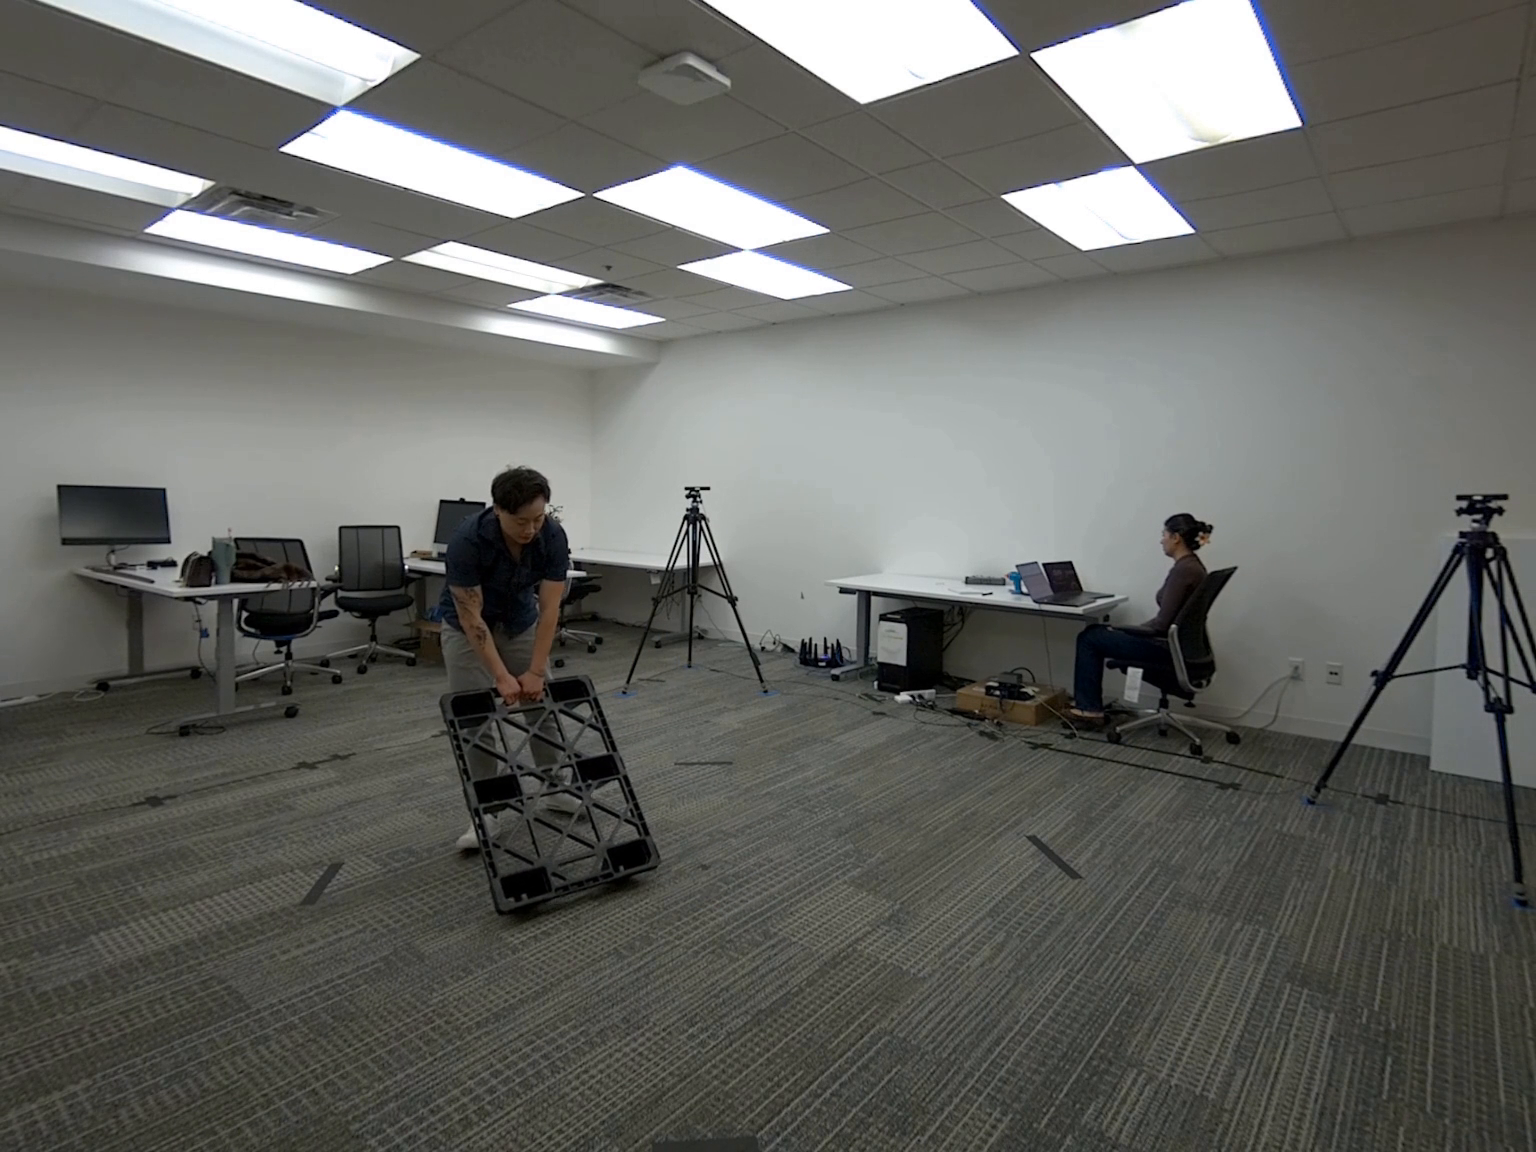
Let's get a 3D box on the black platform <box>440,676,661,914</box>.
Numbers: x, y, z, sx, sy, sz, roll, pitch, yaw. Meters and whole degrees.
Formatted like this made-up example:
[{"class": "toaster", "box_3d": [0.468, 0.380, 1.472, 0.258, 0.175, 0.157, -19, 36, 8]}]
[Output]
[{"class": "black platform", "box_3d": [-0.811, 0.750, 3.061, 0.587, 0.835, 0.142, -3, -39, -37]}]
